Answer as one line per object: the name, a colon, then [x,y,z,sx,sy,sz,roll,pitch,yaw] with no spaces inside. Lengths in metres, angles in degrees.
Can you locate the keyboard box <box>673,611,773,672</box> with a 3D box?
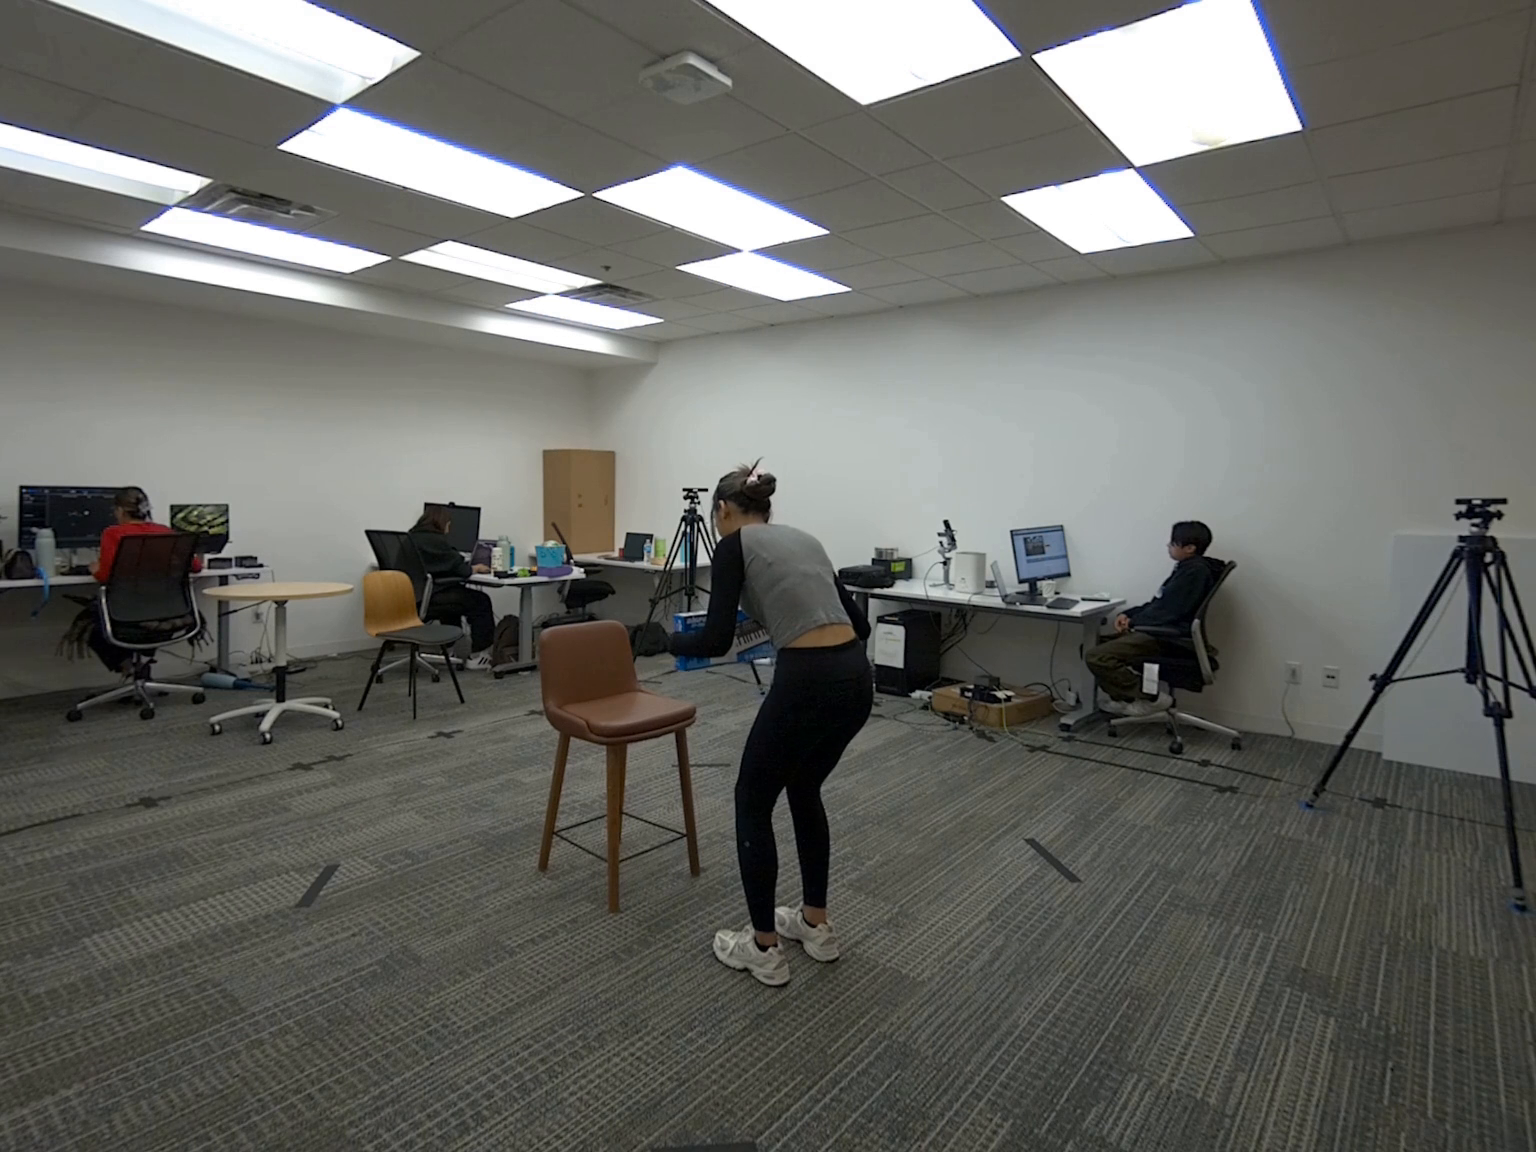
keyboard box: [-0.115,0.190,2.745,0.425,0.175,0.061,-6,6,-35]
